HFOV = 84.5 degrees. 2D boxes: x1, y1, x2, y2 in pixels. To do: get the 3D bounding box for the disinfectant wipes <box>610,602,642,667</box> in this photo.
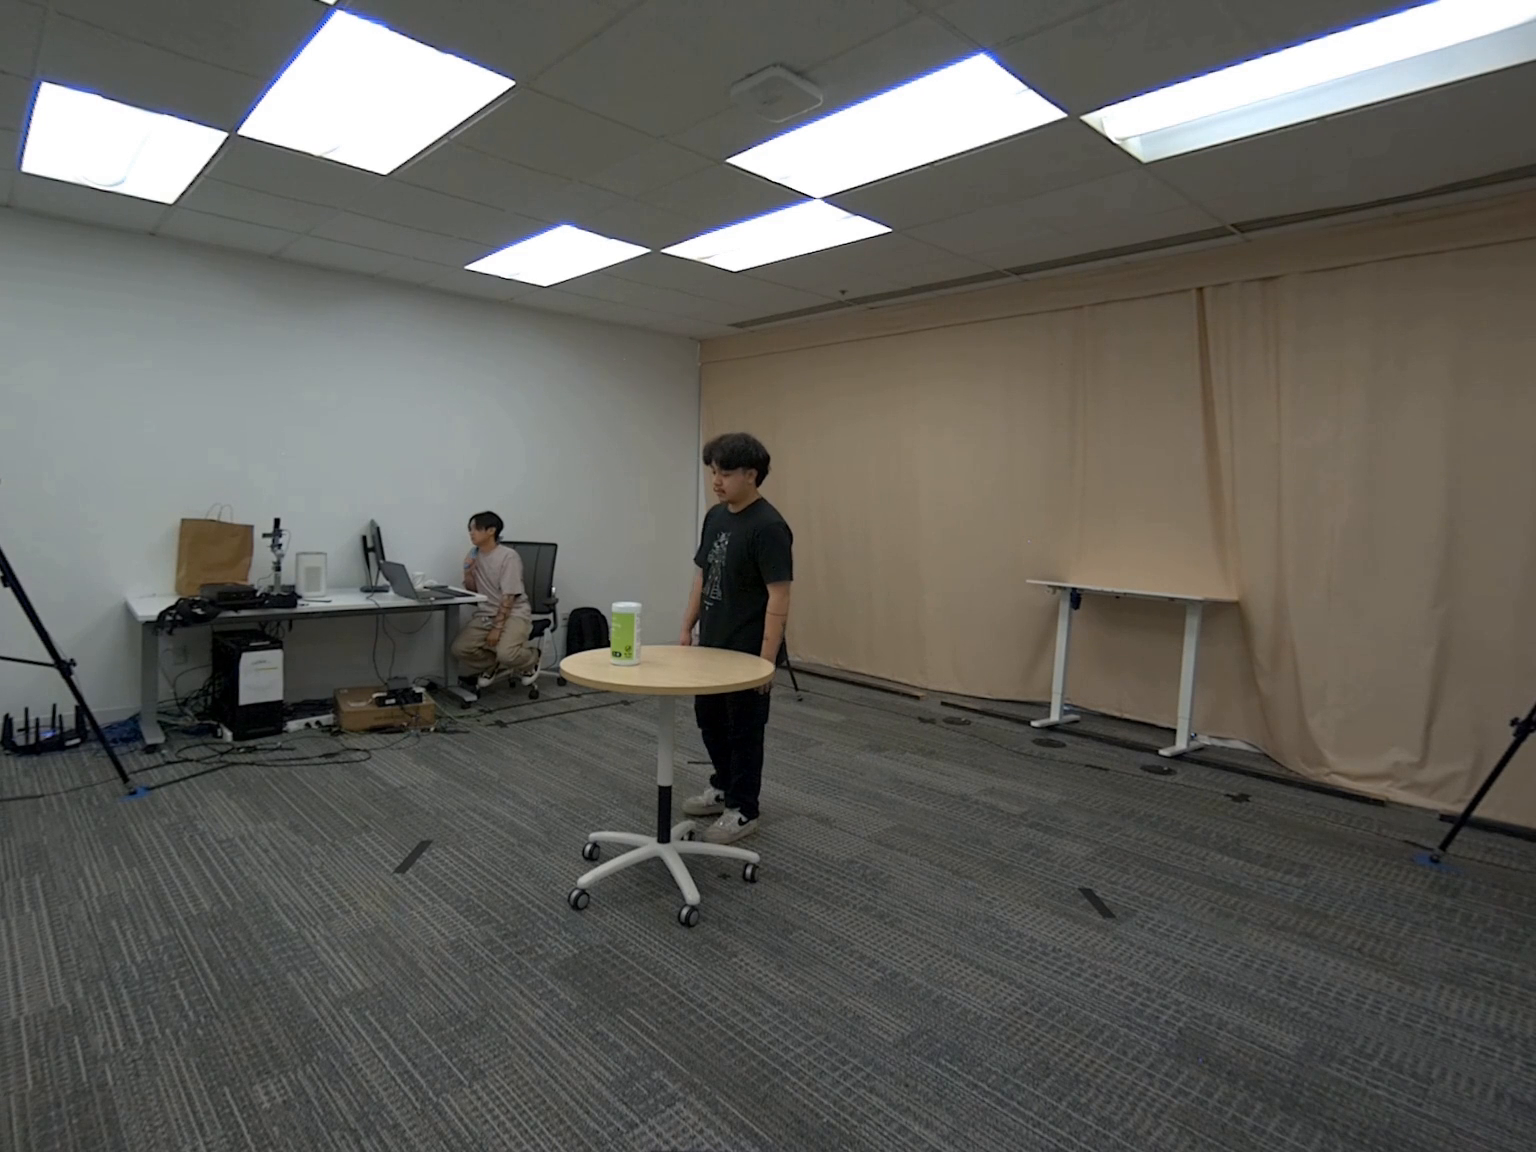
[{"bbox_3d":[-0.510,0.206,3.007,0.118,0.217,0.118,2,3,-1],"label":"disinfectant wipes"}]
